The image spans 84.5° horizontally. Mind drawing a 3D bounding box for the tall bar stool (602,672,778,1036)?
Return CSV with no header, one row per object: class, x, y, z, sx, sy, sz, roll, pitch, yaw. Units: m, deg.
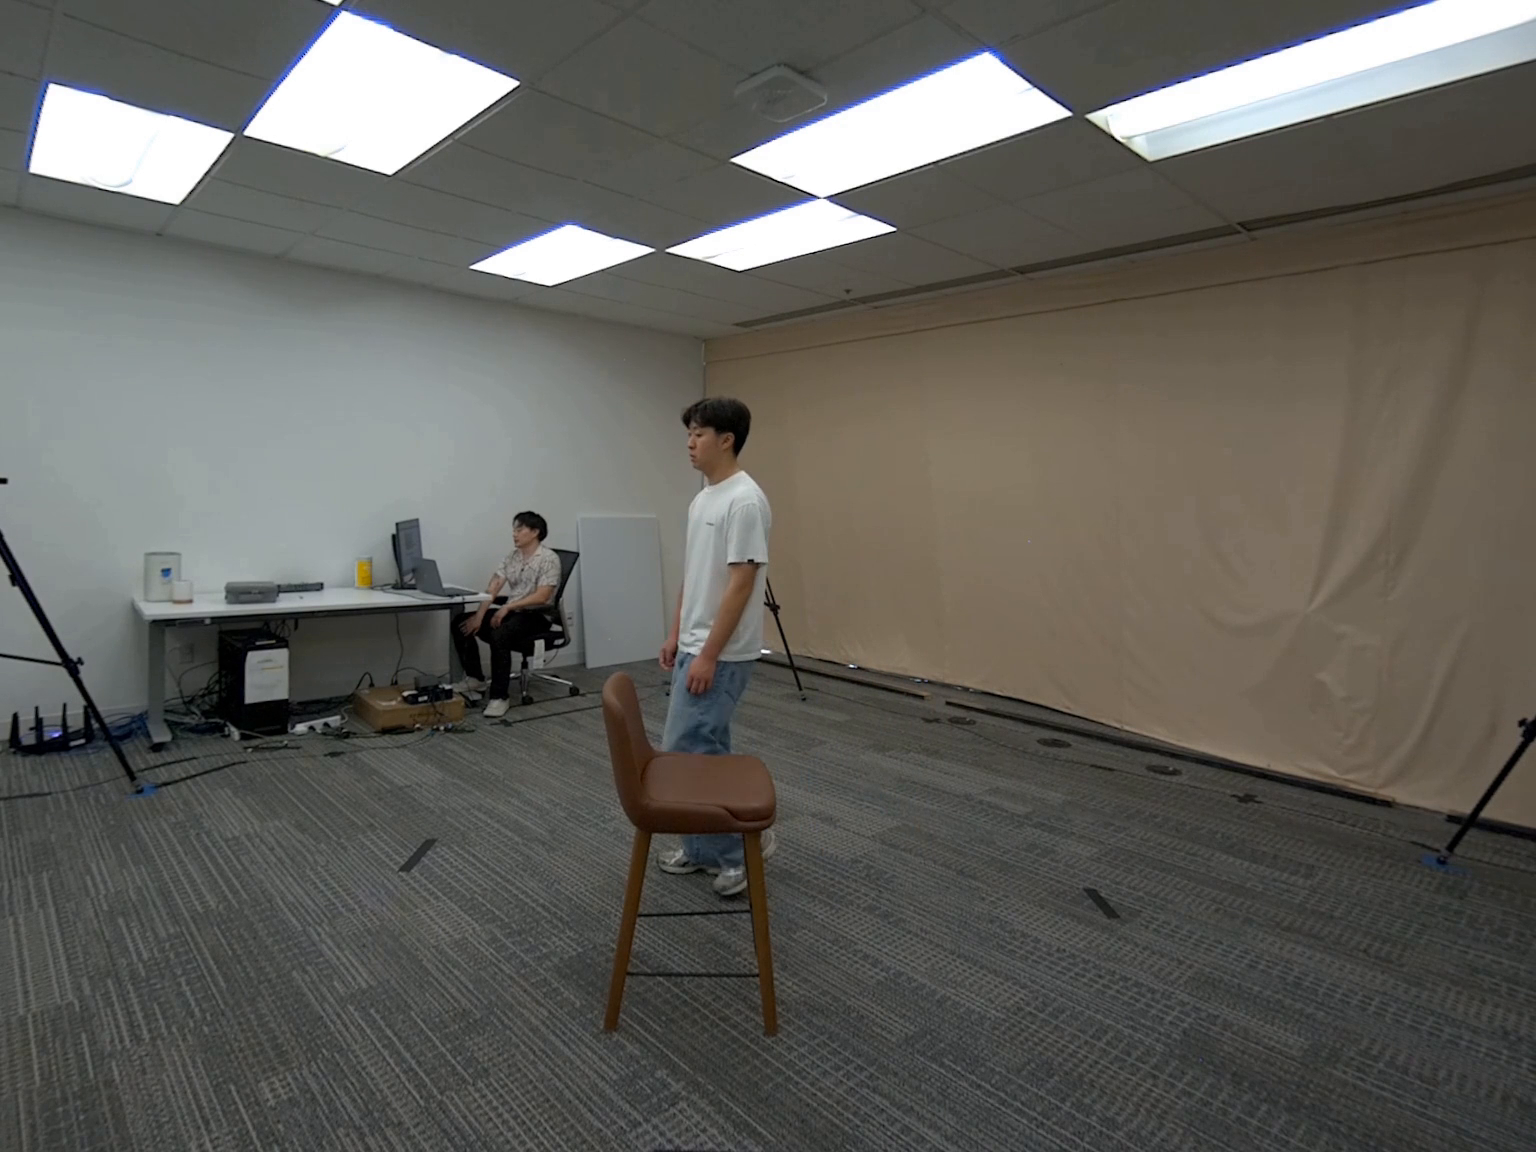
tall bar stool,-0.224,0.741,2.349,0.466,0.887,0.459,-1,4,-4
